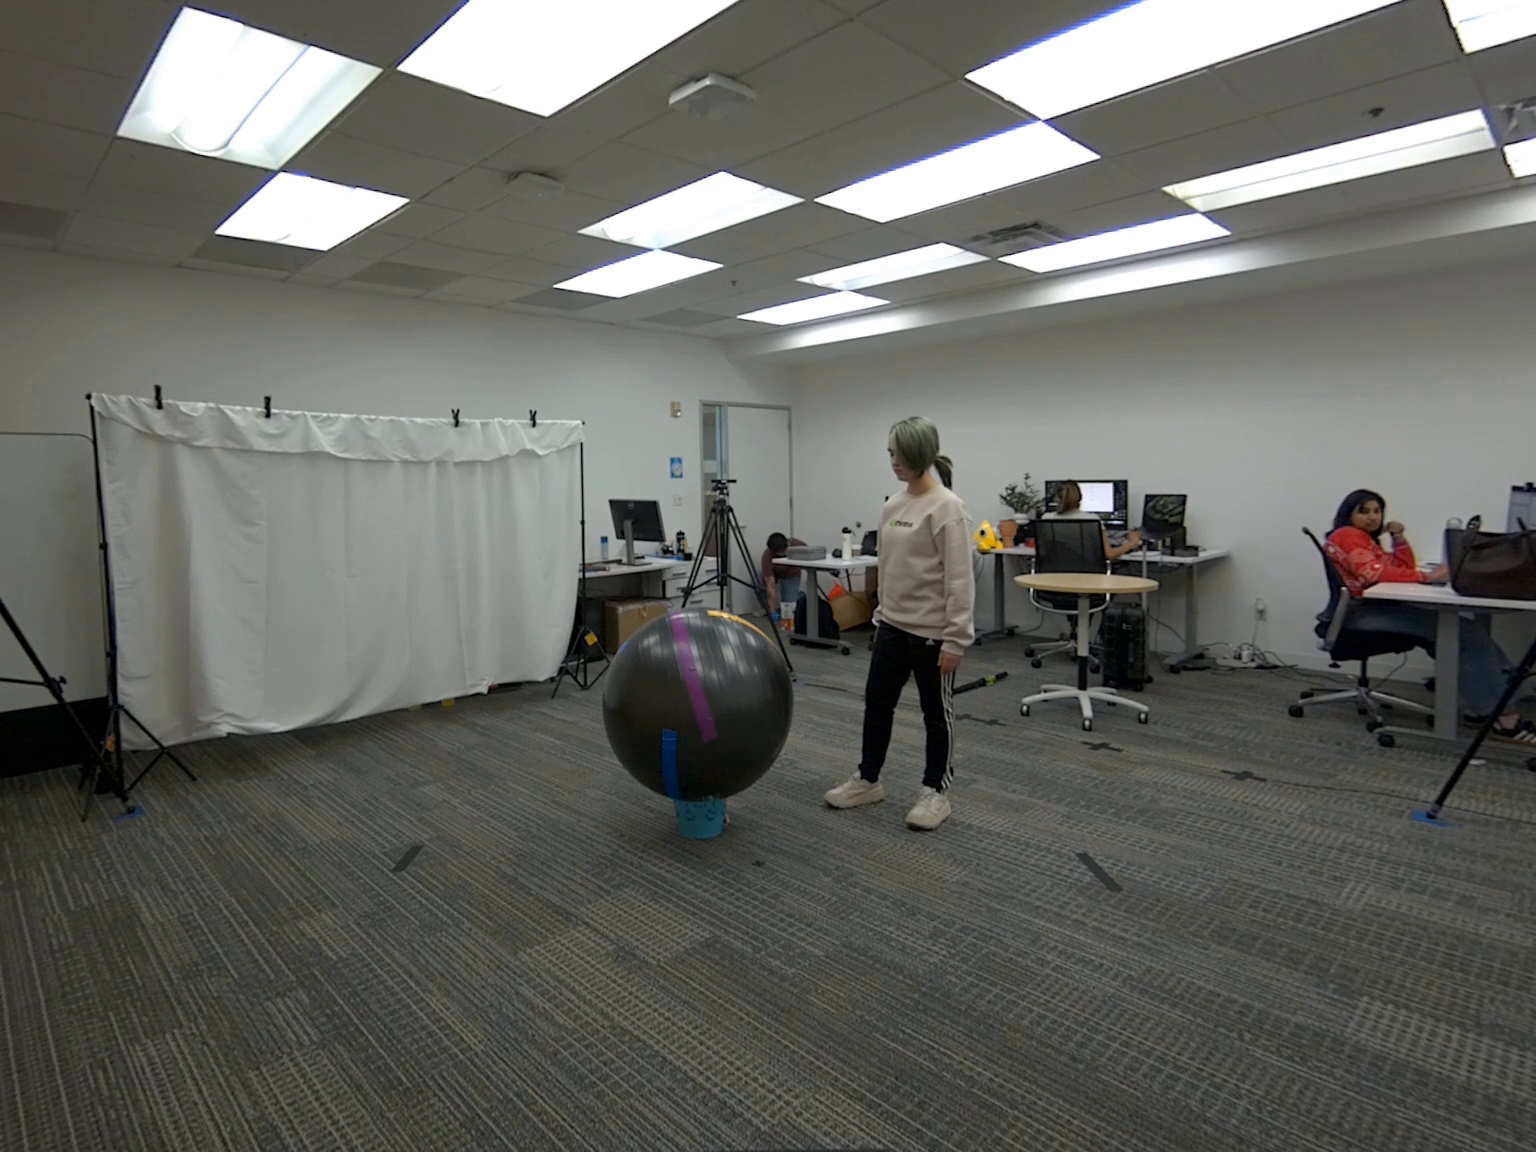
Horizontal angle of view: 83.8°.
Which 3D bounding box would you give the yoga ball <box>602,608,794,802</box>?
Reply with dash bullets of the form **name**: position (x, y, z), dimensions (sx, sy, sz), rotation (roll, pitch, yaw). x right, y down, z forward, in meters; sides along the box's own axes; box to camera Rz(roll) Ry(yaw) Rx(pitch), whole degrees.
- **yoga ball**: position (-0.276, 0.505, 3.398), dimensions (0.757, 0.755, 0.762), rotation (-1, 5, -2)
